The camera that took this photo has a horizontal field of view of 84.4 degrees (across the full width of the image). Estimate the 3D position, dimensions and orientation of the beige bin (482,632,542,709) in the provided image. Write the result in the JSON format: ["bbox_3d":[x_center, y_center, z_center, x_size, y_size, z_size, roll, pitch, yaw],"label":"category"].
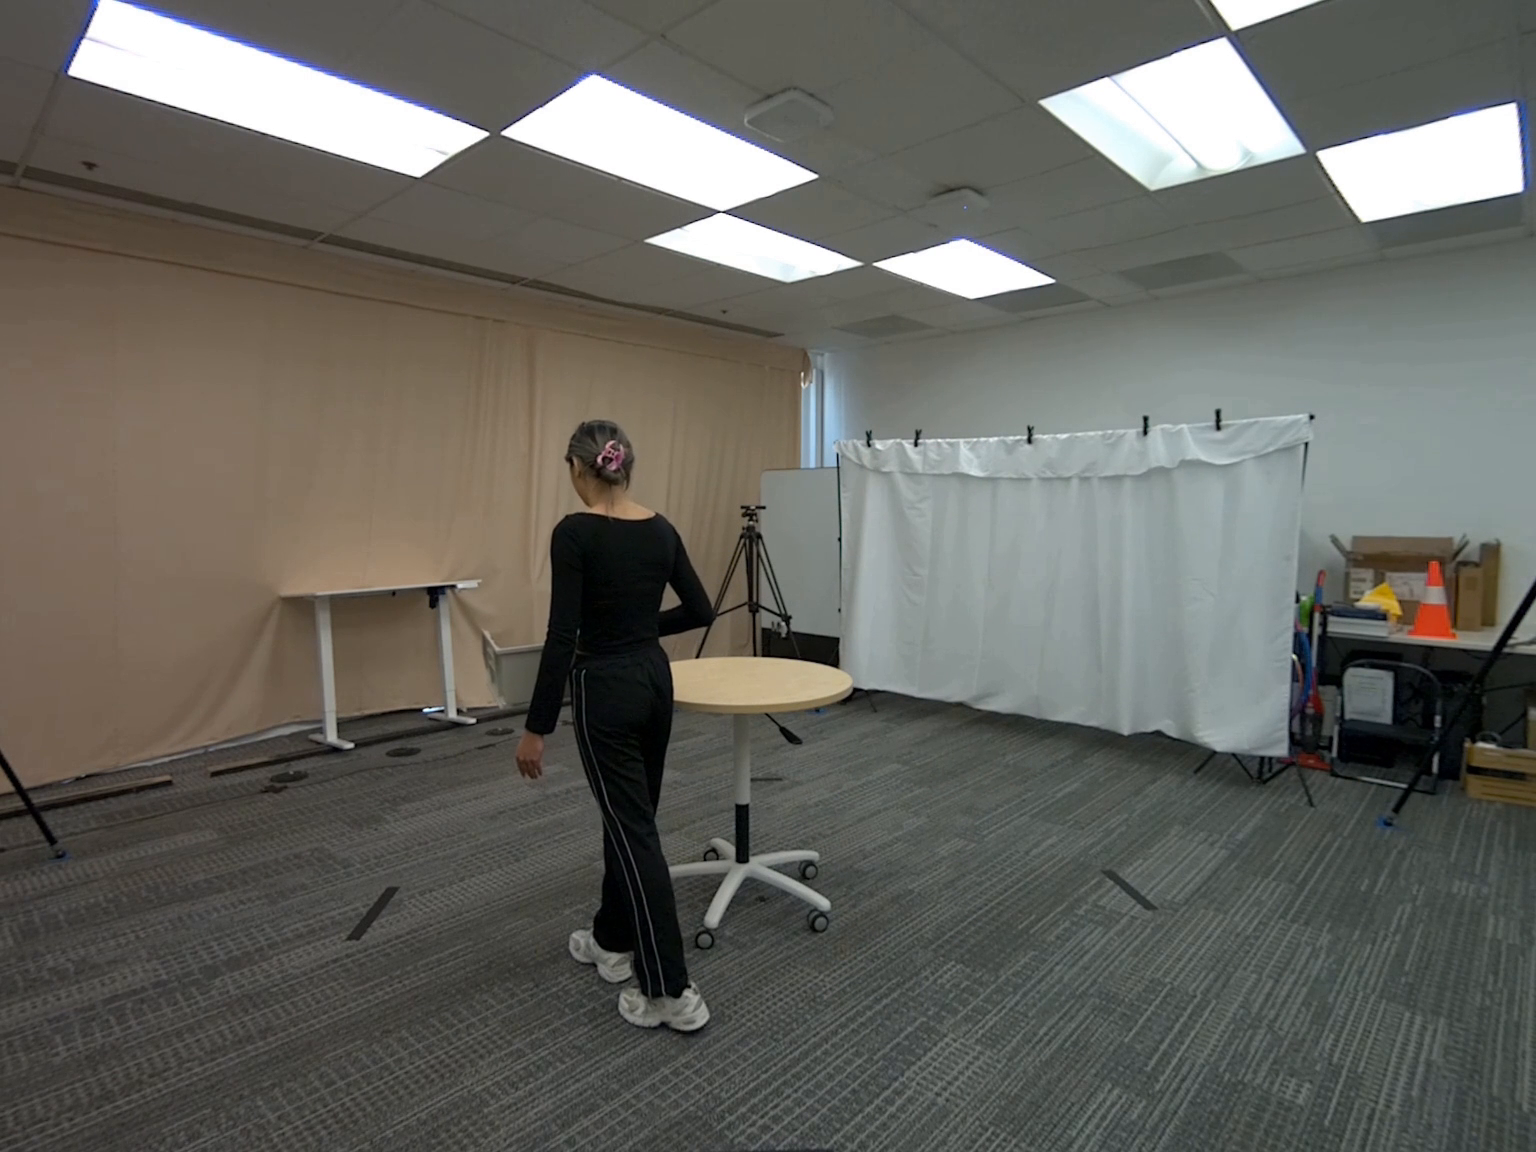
[{"bbox_3d":[-0.660,0.255,2.652,0.413,0.188,0.388,-5,11,-24],"label":"beige bin"}]
